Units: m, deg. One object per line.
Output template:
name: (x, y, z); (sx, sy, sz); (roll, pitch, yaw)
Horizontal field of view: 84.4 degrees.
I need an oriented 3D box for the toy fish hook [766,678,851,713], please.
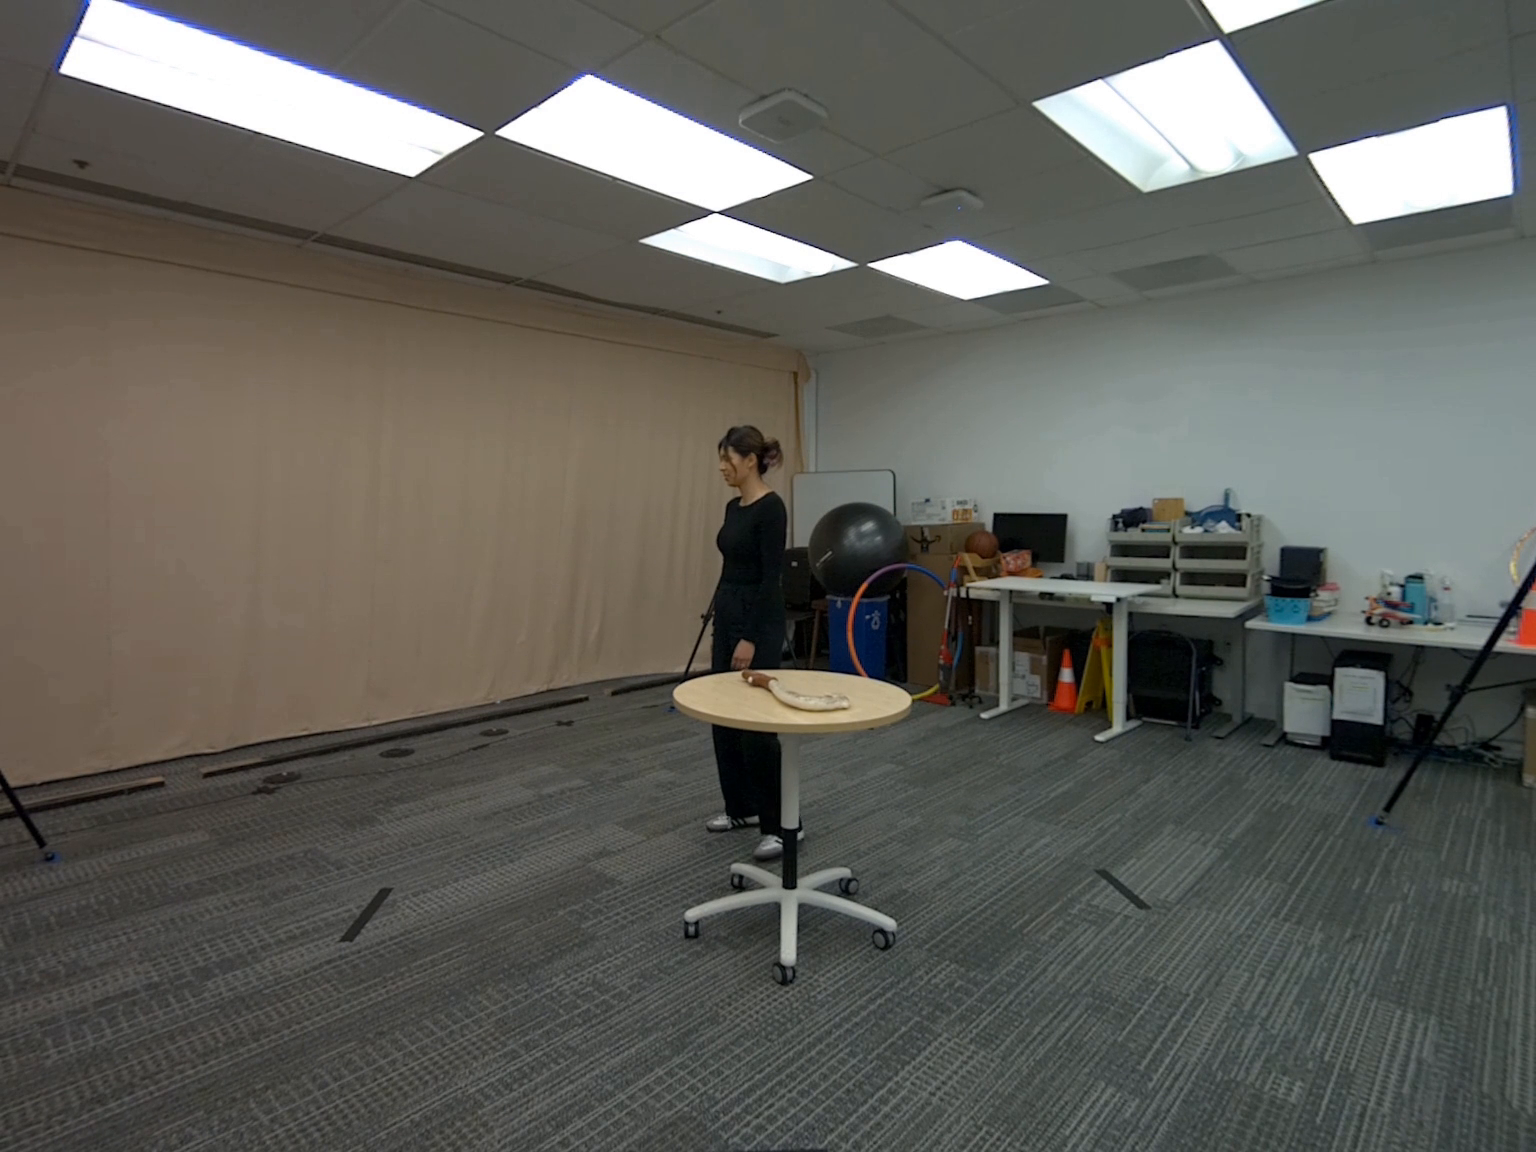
toy fish hook: (0.092, 0.369, 2.729); (0.219, 0.048, 0.520); (2, 5, -26)
